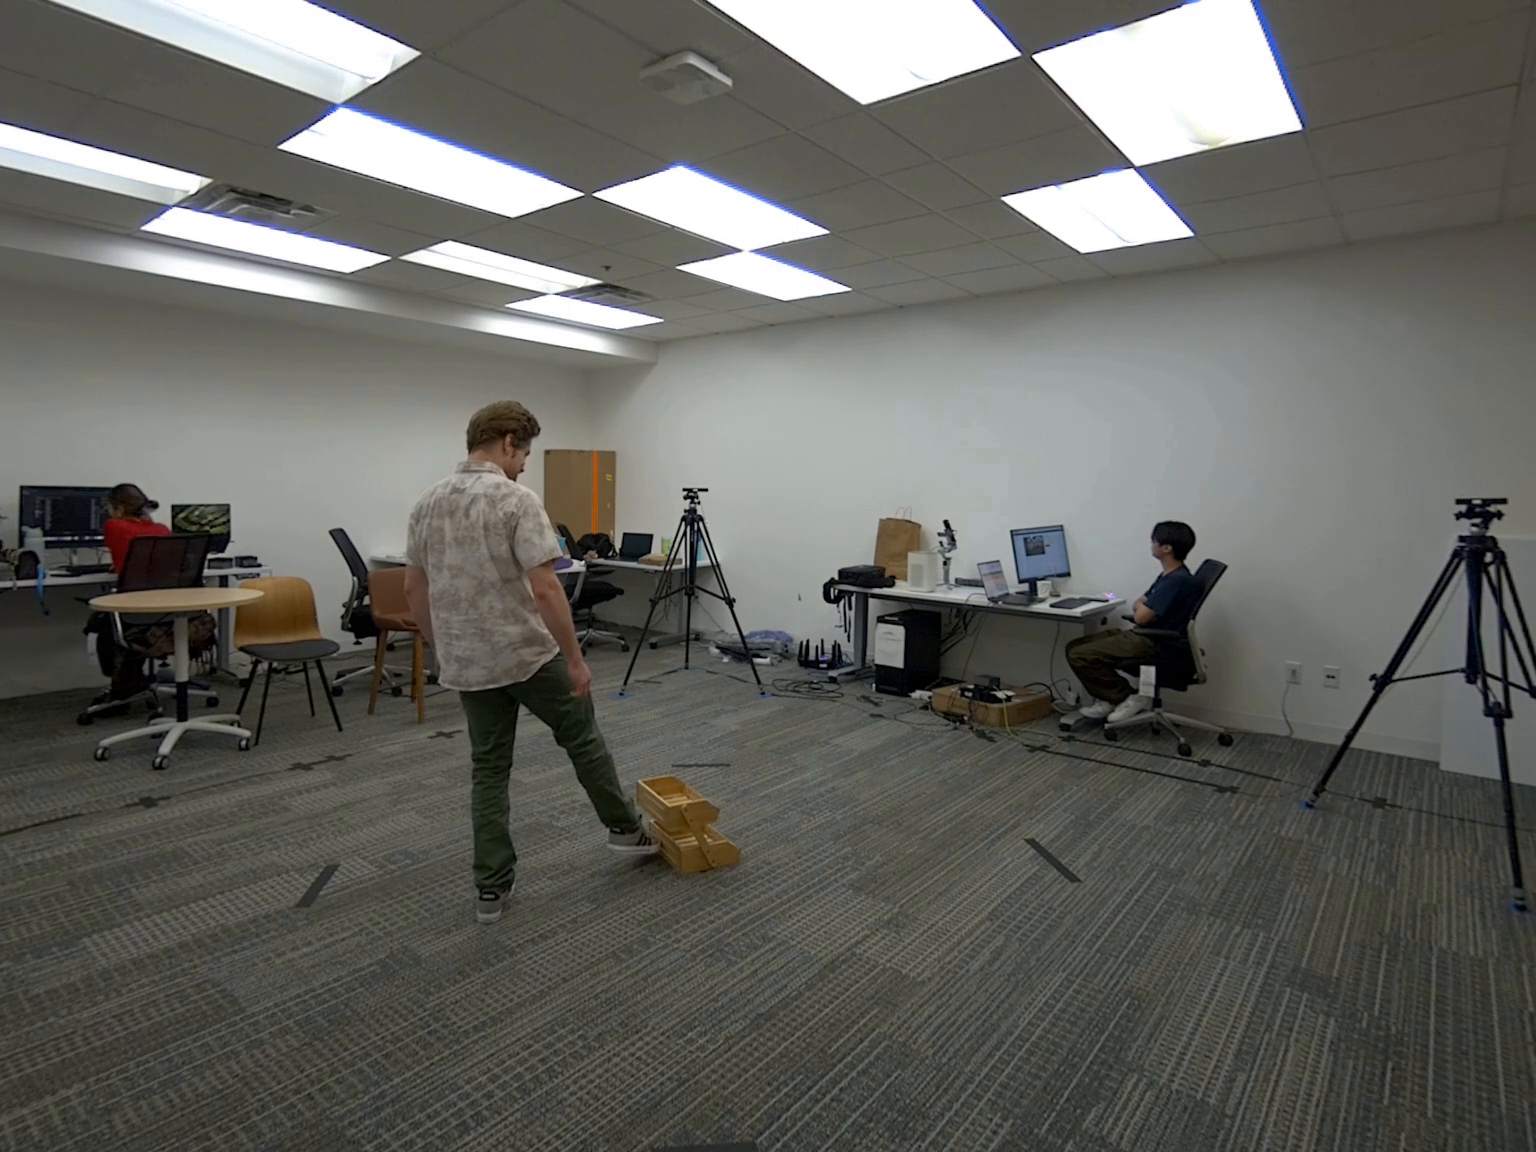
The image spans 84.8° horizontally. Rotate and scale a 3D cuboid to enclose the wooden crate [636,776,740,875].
[{"bbox_3d":[-0.312,0.921,3.233,0.294,0.272,0.334,-2,5,-31],"label":"wooden crate"}]
